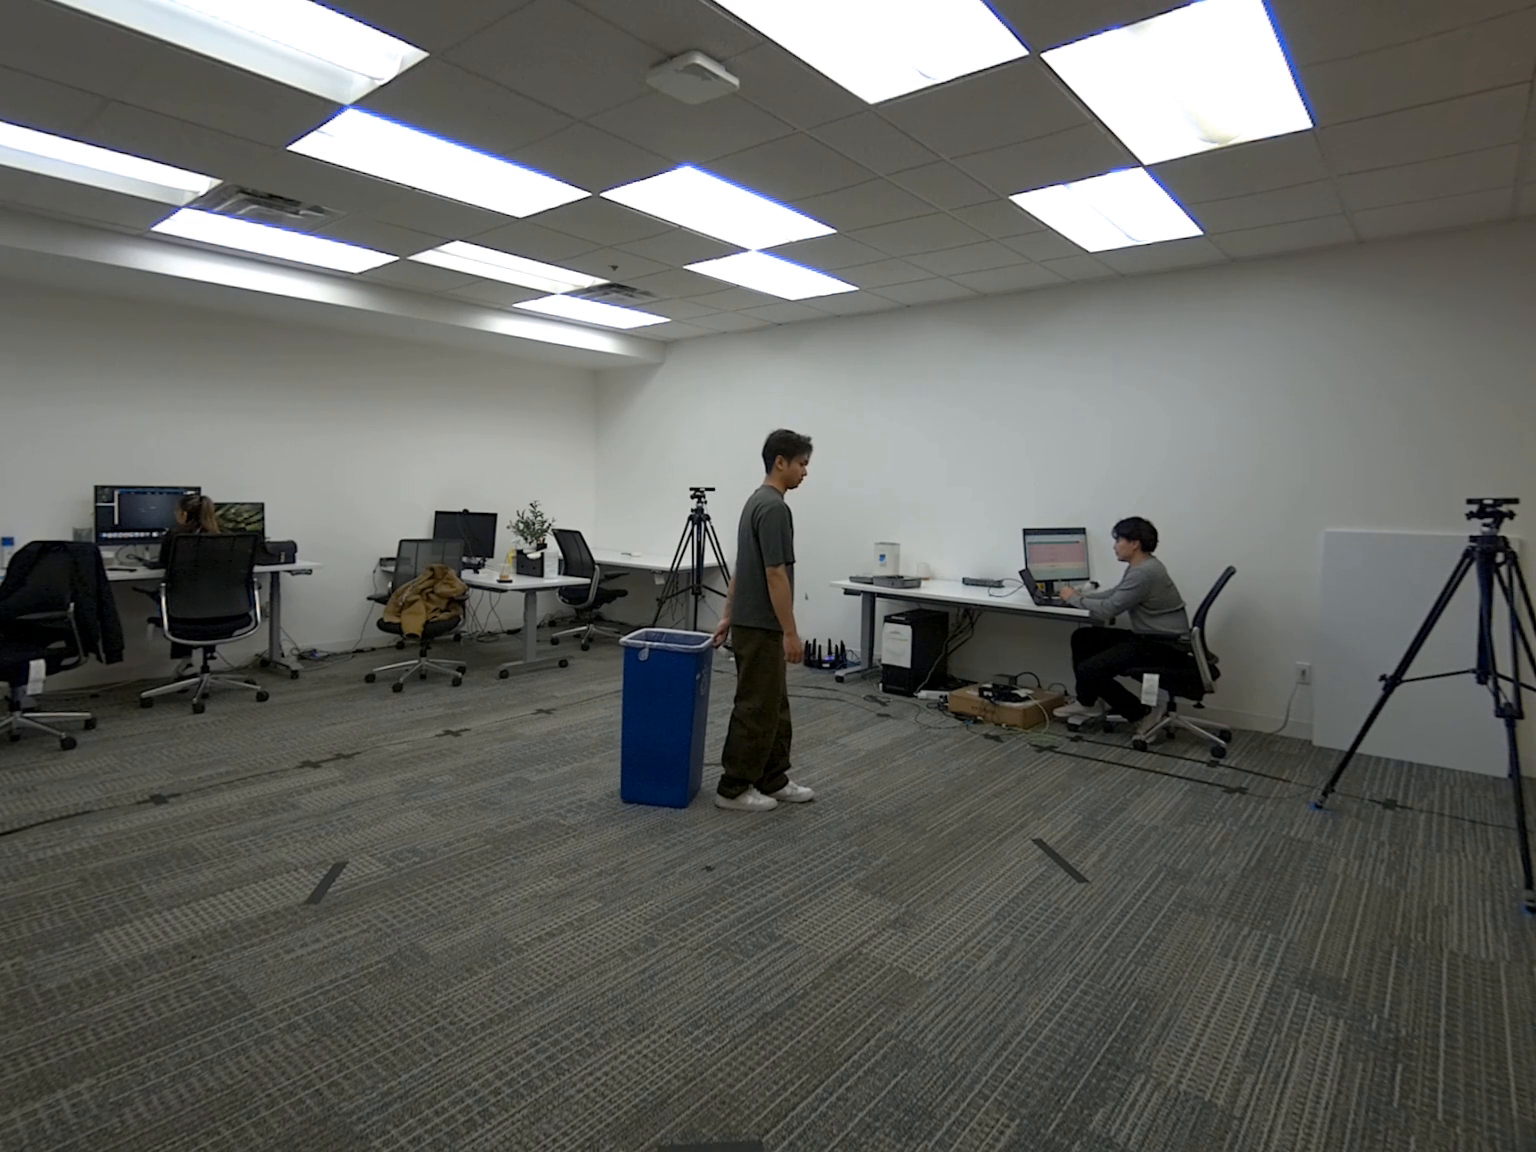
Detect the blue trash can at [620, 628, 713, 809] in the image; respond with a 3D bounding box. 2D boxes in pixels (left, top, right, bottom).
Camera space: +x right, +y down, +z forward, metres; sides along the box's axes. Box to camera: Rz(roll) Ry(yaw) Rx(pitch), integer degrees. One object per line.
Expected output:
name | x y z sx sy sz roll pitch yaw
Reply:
blue trash can | -0.478 0.627 3.859 0.383 0.711 0.371 4 4 10
